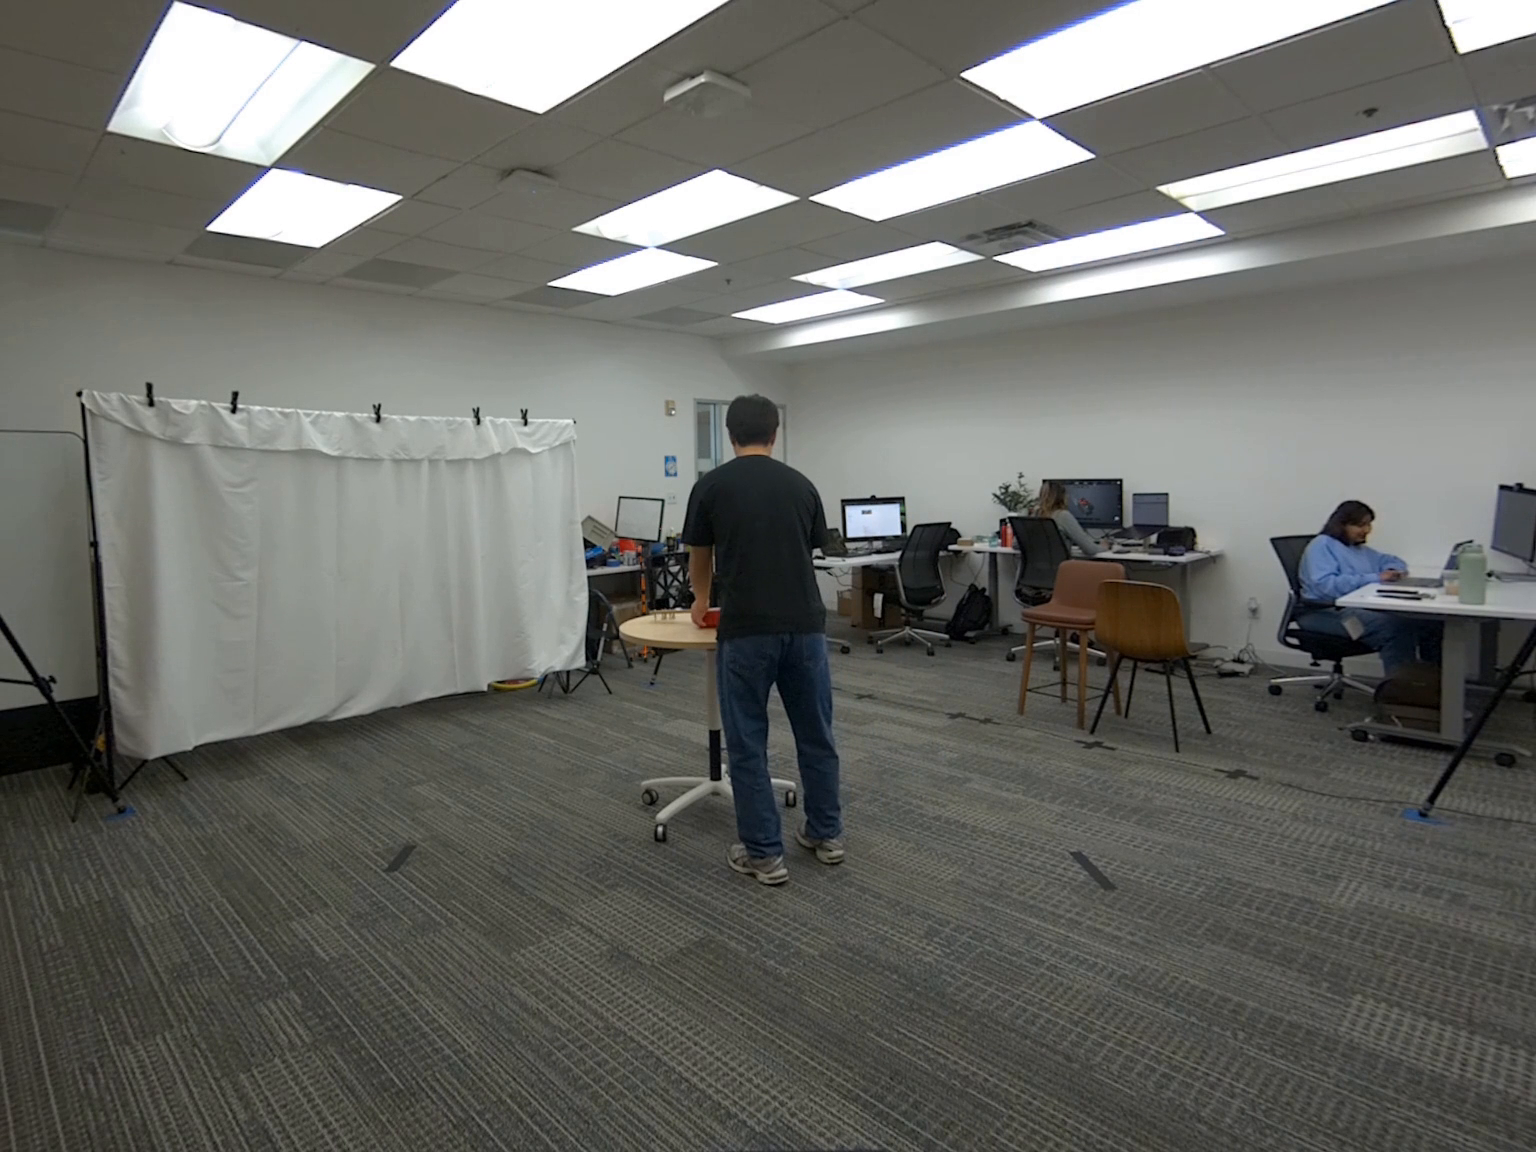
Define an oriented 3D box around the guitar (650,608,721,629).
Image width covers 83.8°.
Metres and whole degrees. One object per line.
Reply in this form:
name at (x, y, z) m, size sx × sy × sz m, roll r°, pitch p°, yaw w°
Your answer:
guitar at (-0.245, 0.160, 3.554) m, size 0.510 × 0.070 × 0.188 m, roll -1°, pitch 3°, yaw 32°
